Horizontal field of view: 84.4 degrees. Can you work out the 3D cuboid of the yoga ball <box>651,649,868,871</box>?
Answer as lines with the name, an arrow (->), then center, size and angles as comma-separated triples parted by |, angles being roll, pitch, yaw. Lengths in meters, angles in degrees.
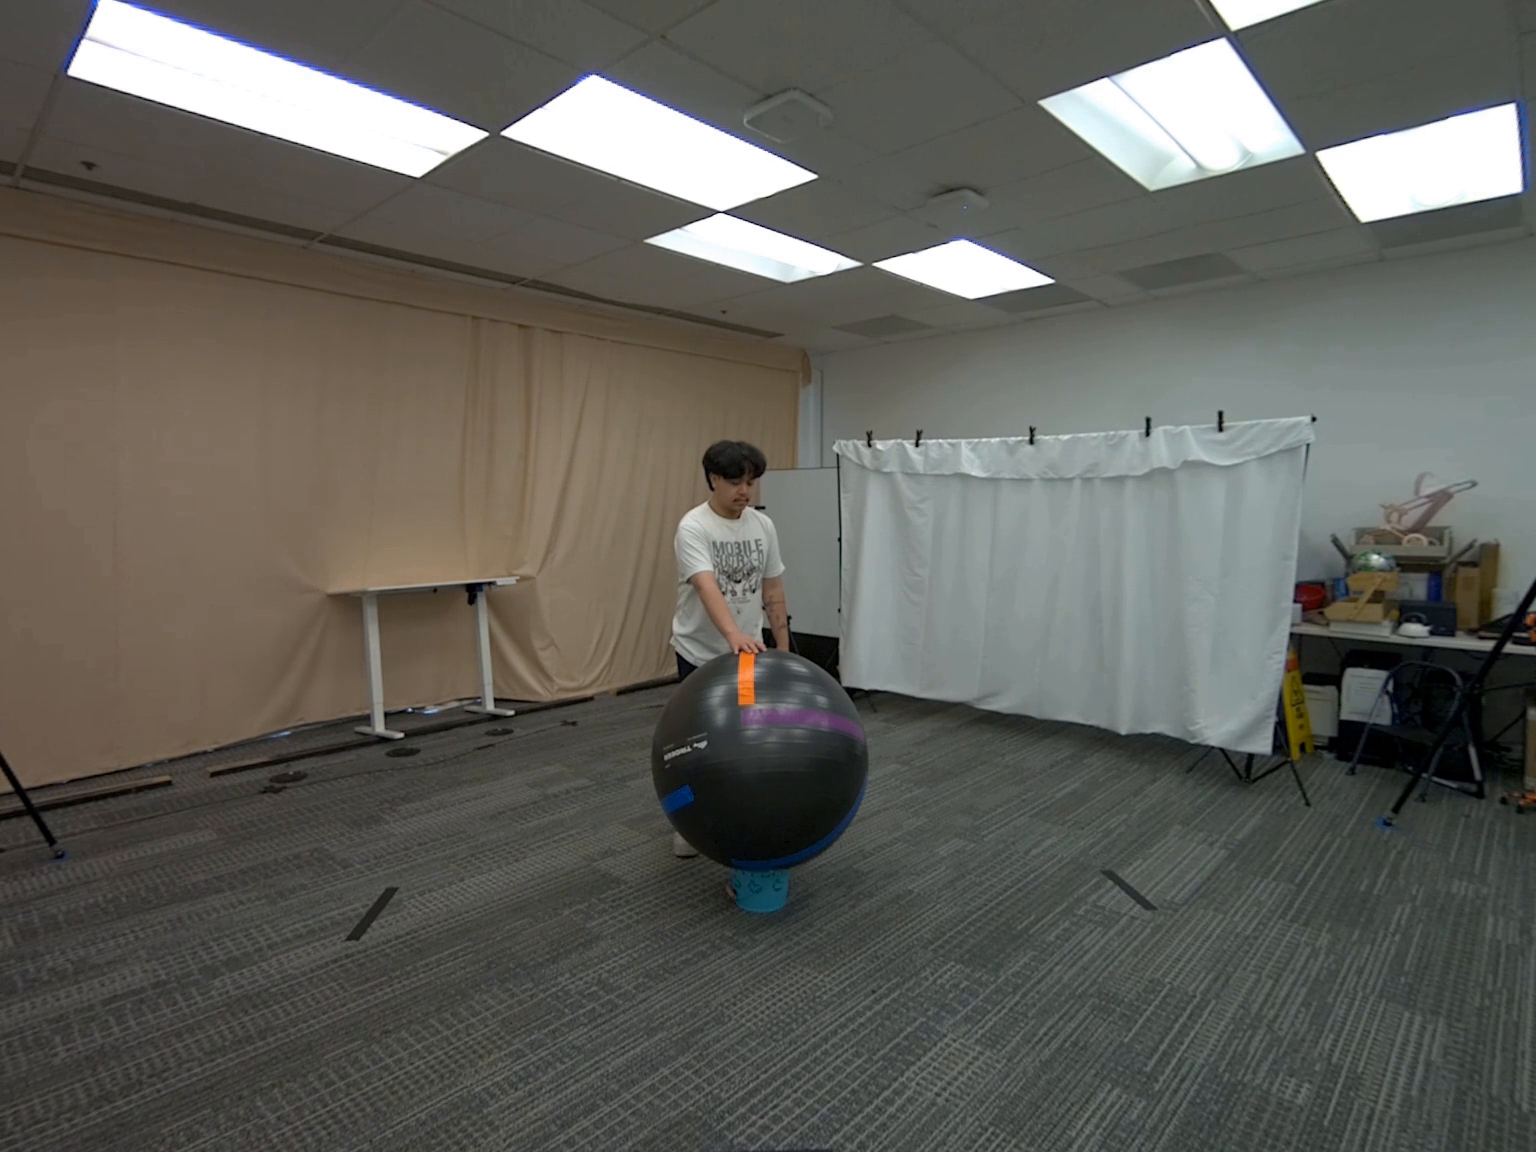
yoga ball -> -0.033, 0.640, 2.948 | 0.757, 0.756, 0.761 | 0, 4, -2
